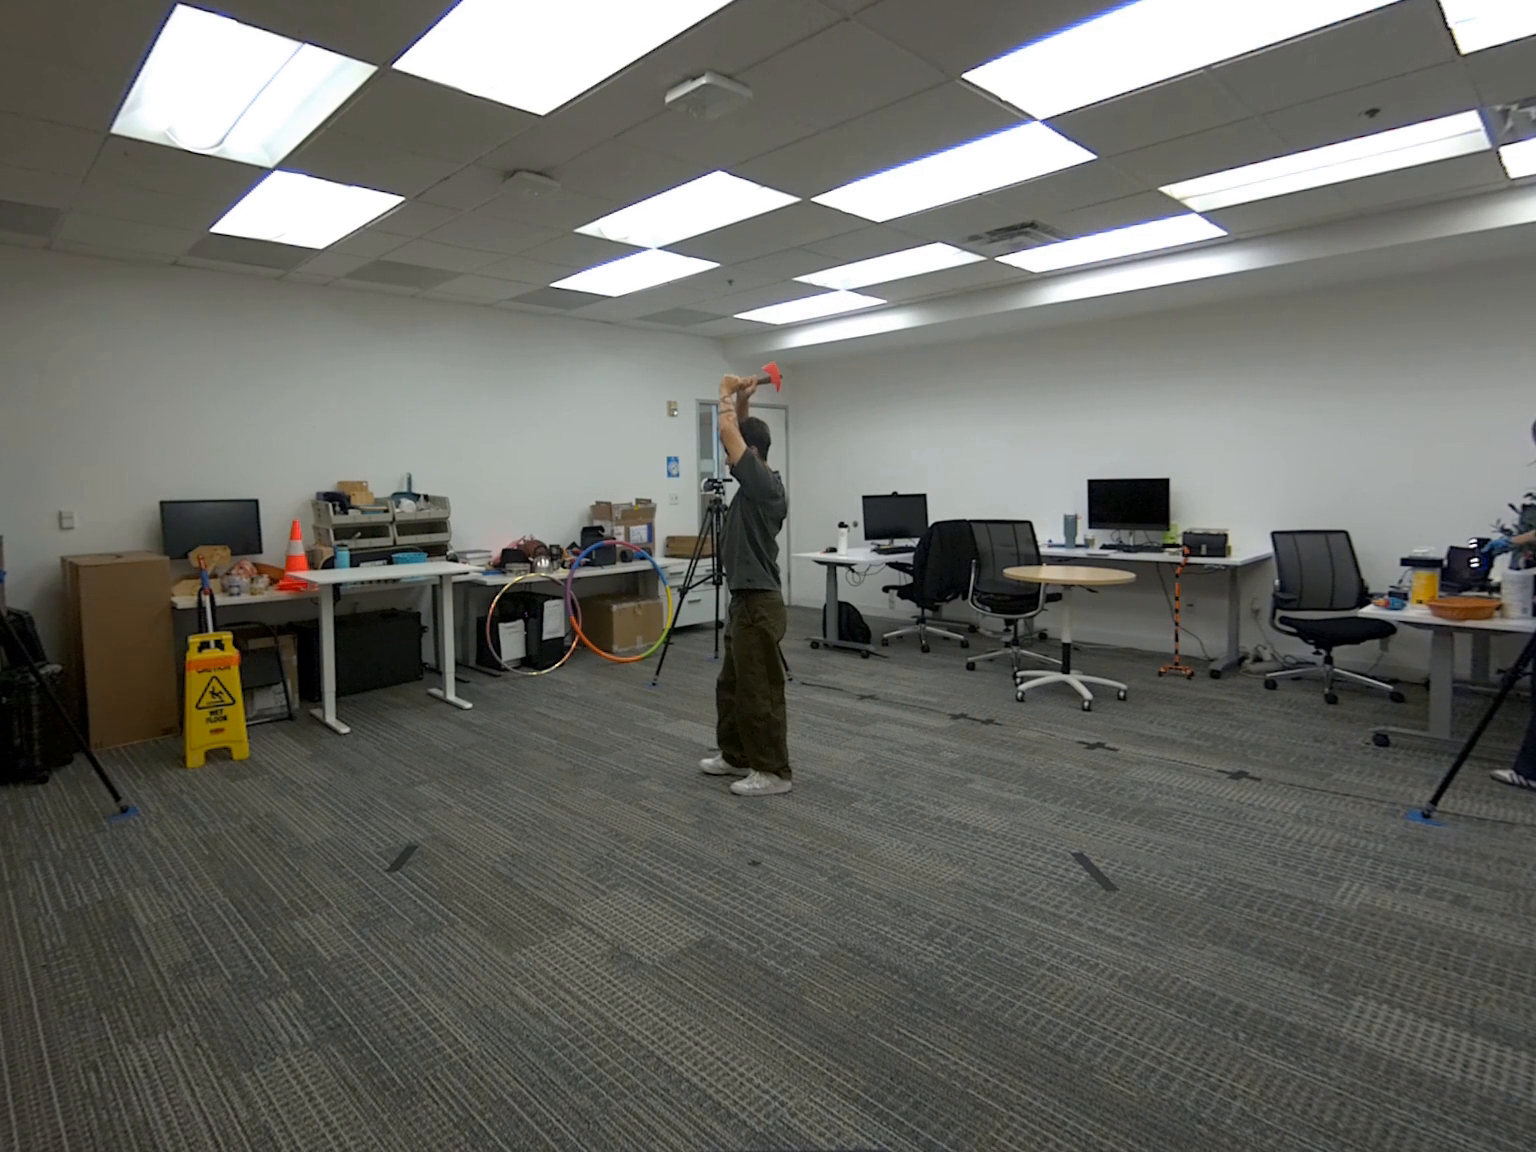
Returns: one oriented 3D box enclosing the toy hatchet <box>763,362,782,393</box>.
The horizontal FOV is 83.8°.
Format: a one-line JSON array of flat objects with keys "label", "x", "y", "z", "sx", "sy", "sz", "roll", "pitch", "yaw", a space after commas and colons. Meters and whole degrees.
[{"label": "toy hatchet", "x": -0.073, "y": -0.881, "z": 3.762, "sx": 0.268, "sy": 0.129, "sz": 0.030, "roll": 6, "pitch": 20, "yaw": -7}]
